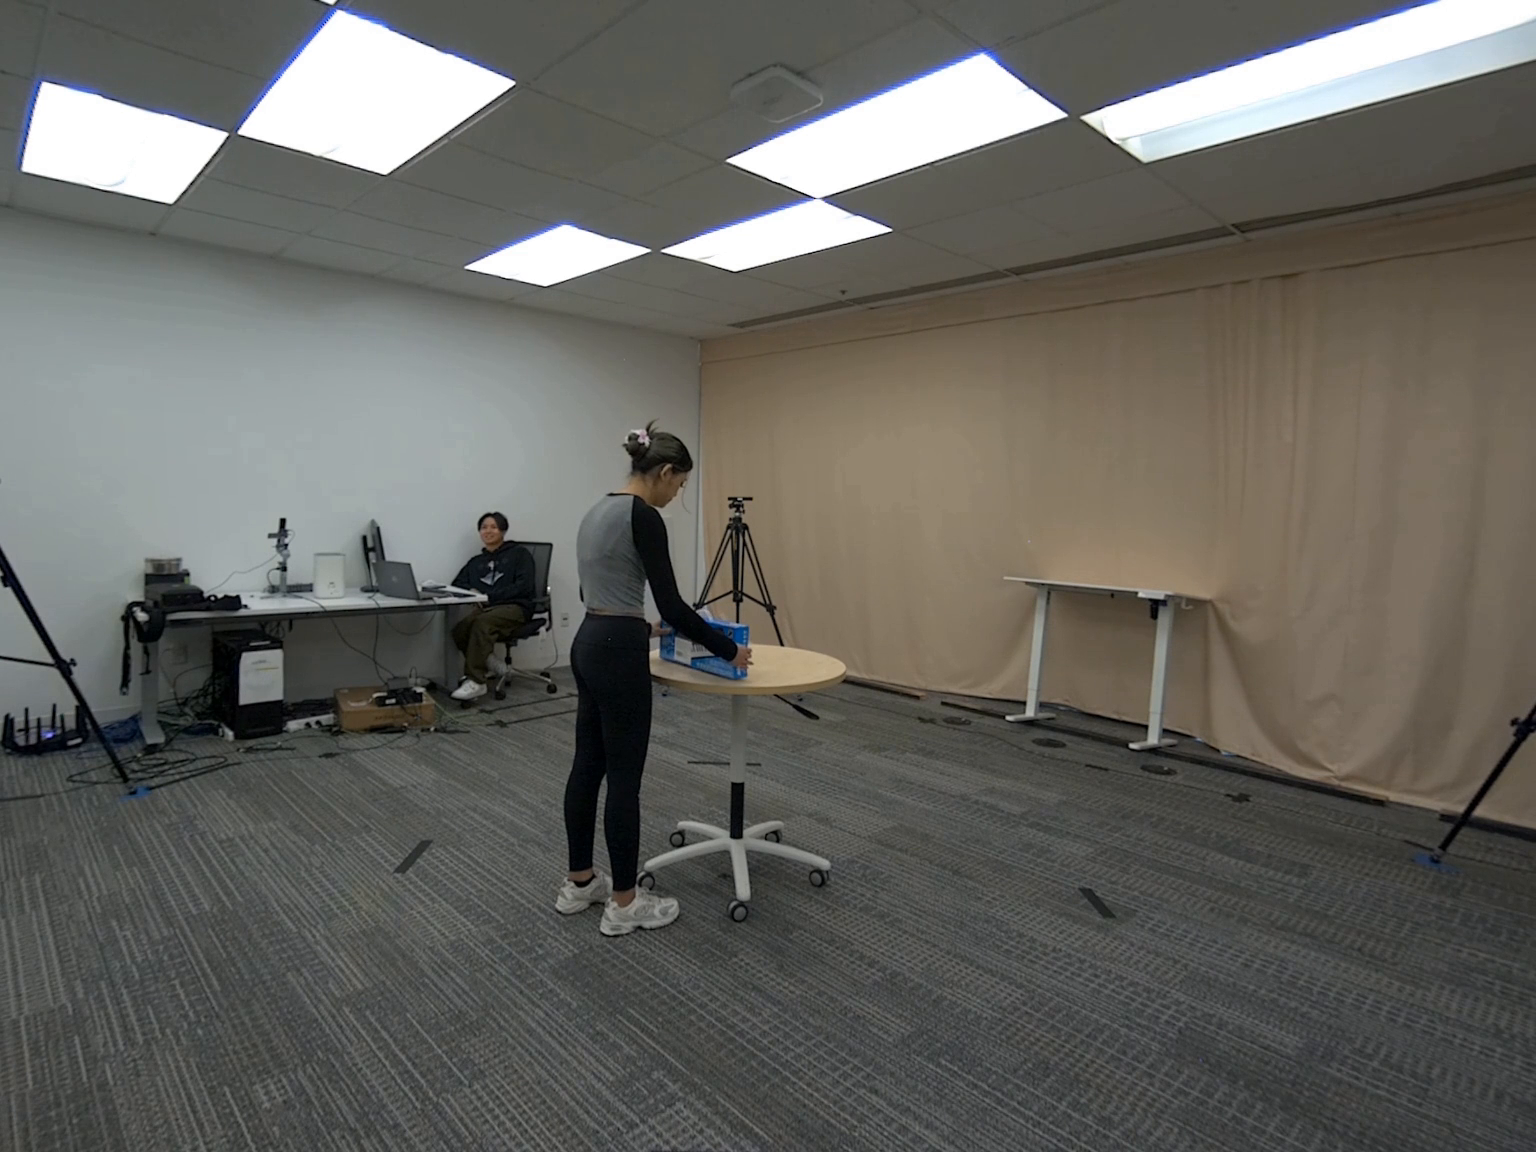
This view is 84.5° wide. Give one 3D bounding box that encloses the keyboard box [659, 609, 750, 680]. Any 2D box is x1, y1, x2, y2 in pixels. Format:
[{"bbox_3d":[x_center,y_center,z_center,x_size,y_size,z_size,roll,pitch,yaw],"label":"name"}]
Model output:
[{"bbox_3d":[-0.241,0.235,2.941,0.058,0.175,0.448,-1,4,-39],"label":"keyboard box"}]
